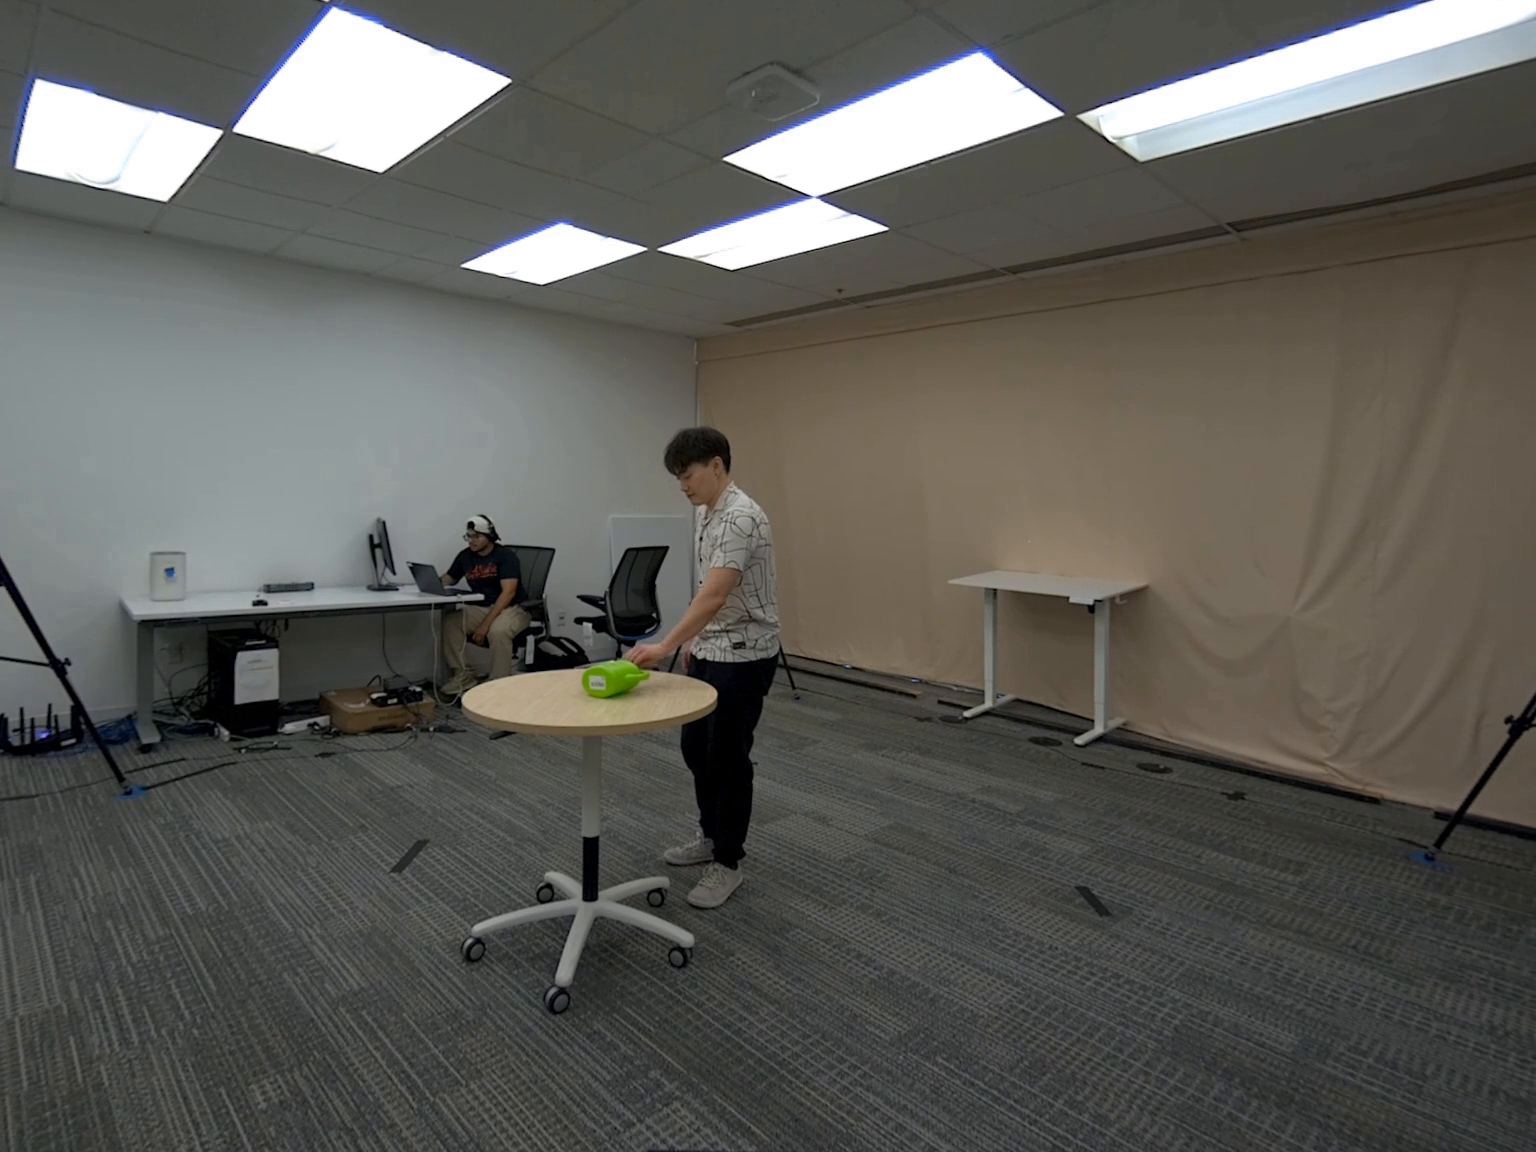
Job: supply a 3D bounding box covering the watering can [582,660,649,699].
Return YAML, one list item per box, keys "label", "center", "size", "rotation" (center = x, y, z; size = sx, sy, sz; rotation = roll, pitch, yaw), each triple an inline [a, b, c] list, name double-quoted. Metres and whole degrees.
- label: "watering can"
  center: [-0.510, 0.326, 2.600]
  size: [0.282, 0.098, 0.173]
  rotation: [-15, -5, 30]
